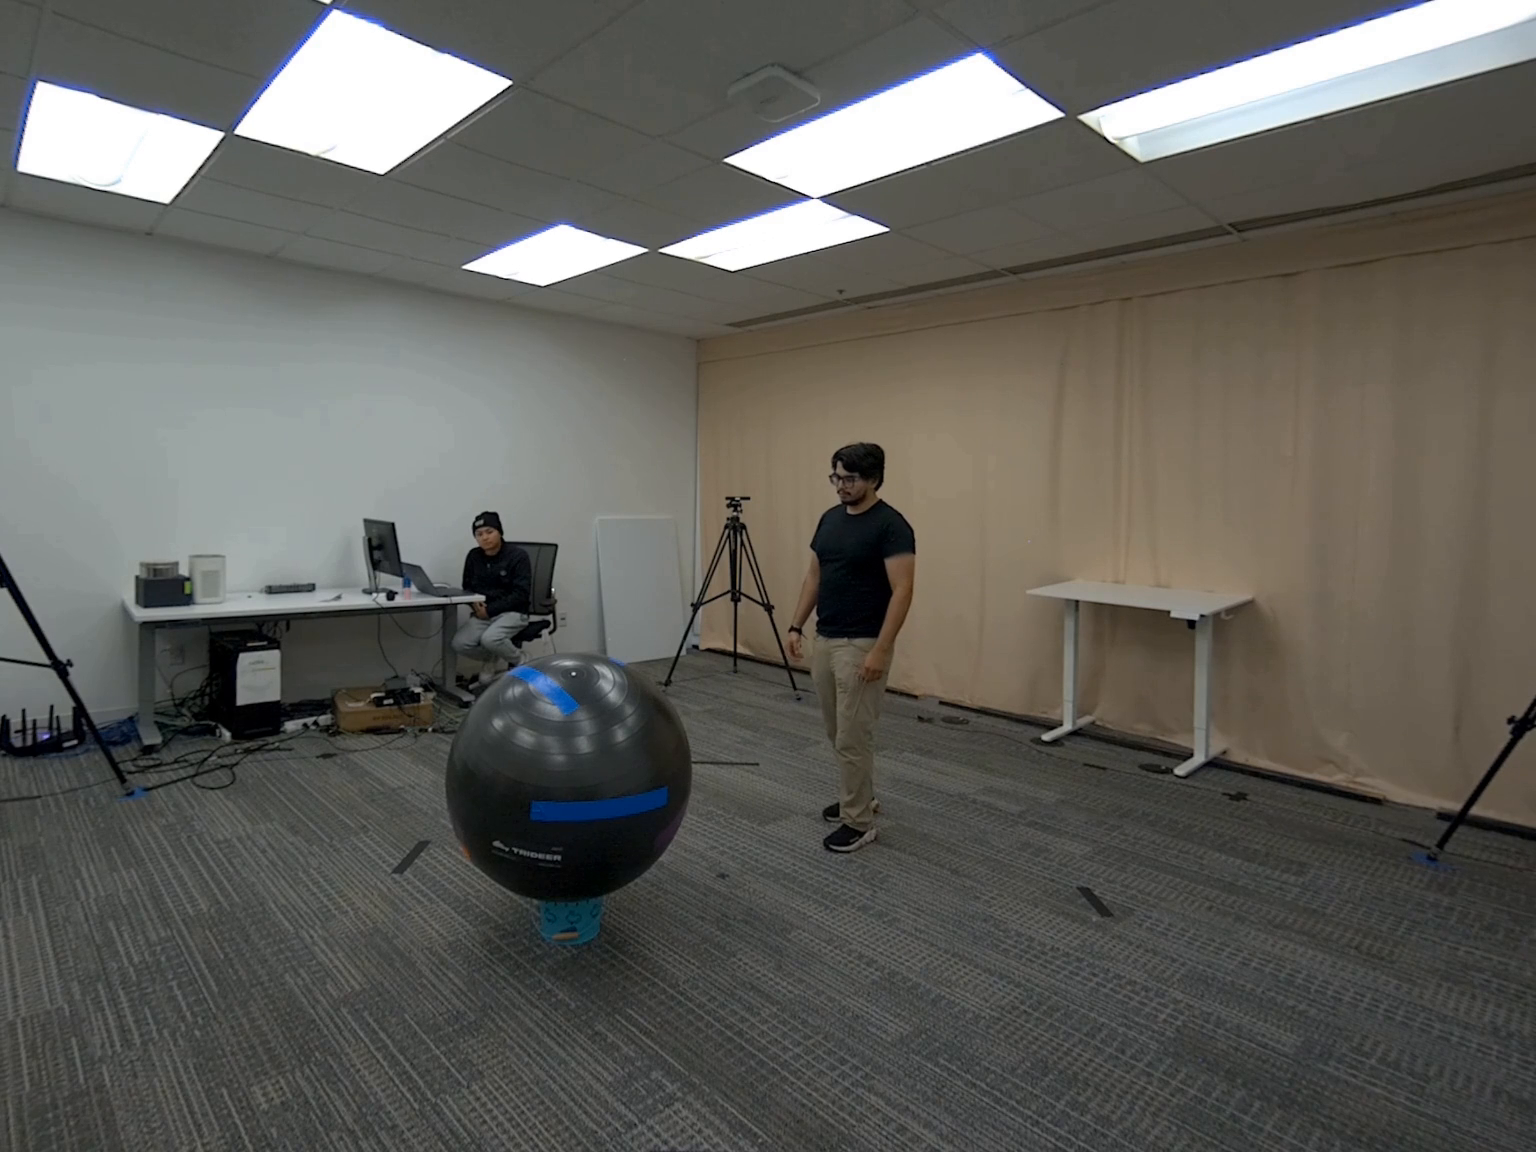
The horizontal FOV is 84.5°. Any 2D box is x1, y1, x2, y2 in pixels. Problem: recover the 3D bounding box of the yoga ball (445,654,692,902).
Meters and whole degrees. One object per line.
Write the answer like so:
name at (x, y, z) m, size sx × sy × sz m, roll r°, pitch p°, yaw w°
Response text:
yoga ball at (-0.620, 0.631, 2.650) m, size 0.757 × 0.756 × 0.760 m, roll 1°, pitch 4°, yaw -1°
